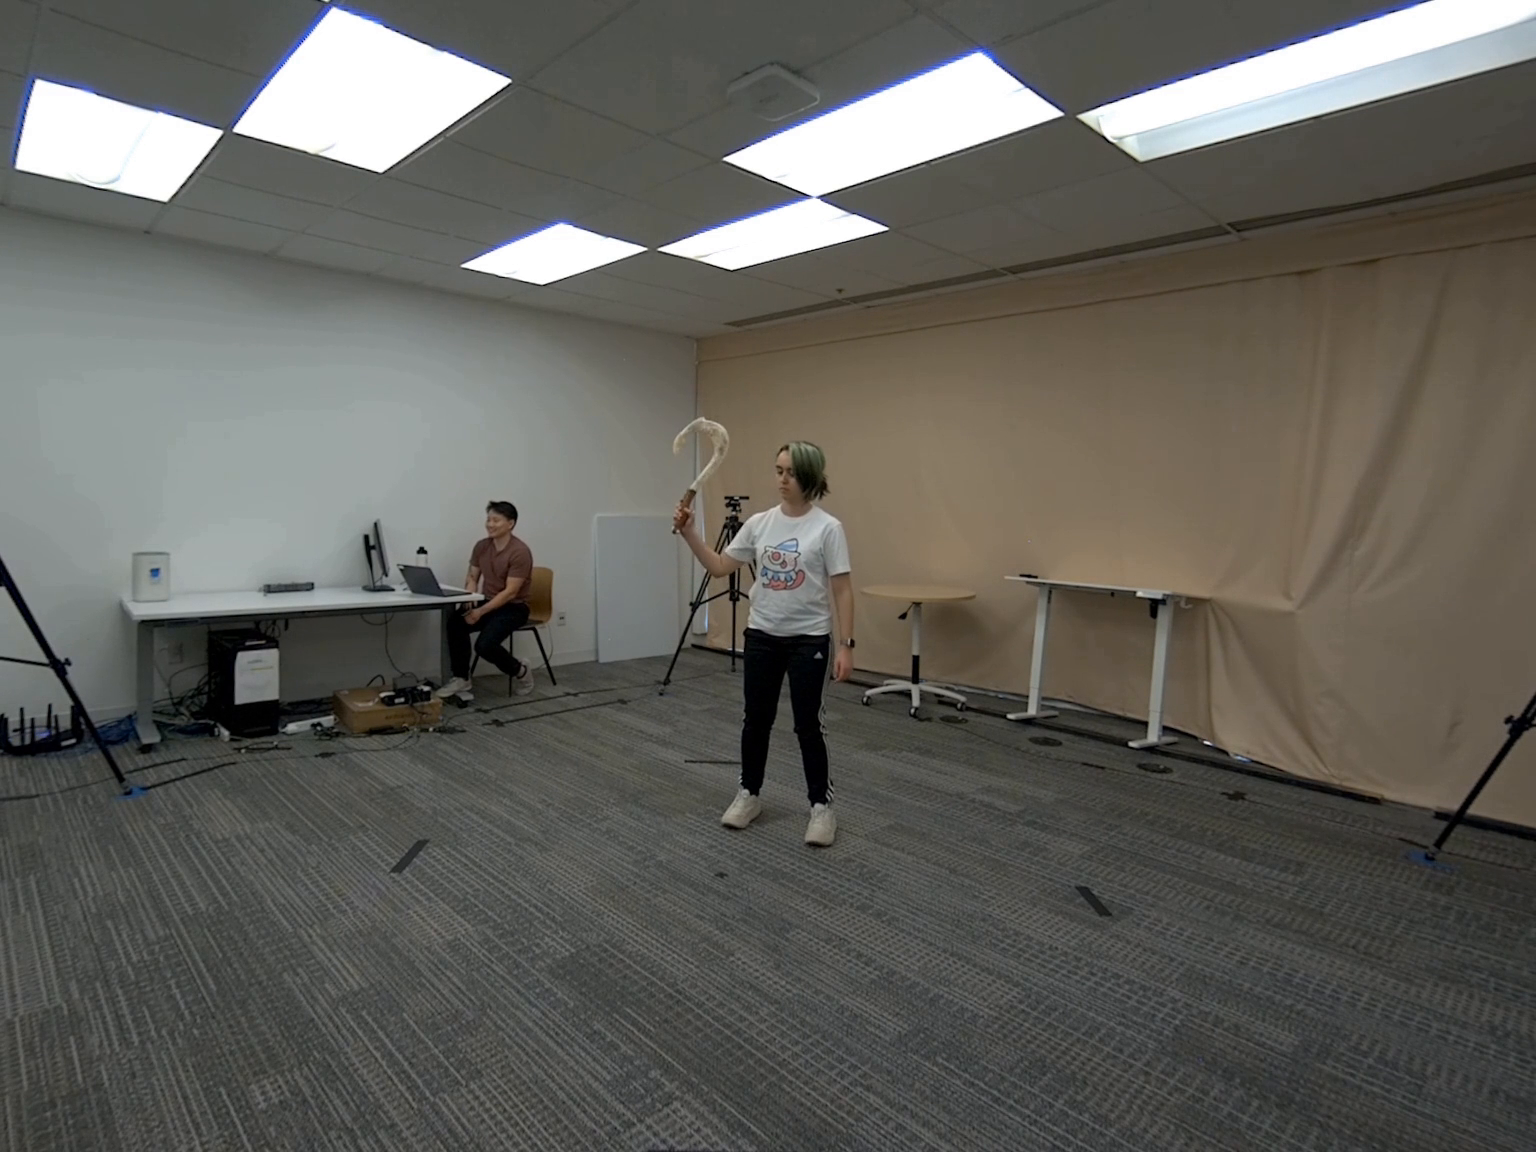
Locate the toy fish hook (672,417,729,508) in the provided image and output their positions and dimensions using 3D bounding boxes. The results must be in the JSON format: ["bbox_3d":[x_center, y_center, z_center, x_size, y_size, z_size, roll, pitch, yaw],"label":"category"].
[{"bbox_3d":[-0.351,-0.421,3.543,0.226,0.508,0.048,22,-8,8],"label":"toy fish hook"}]
